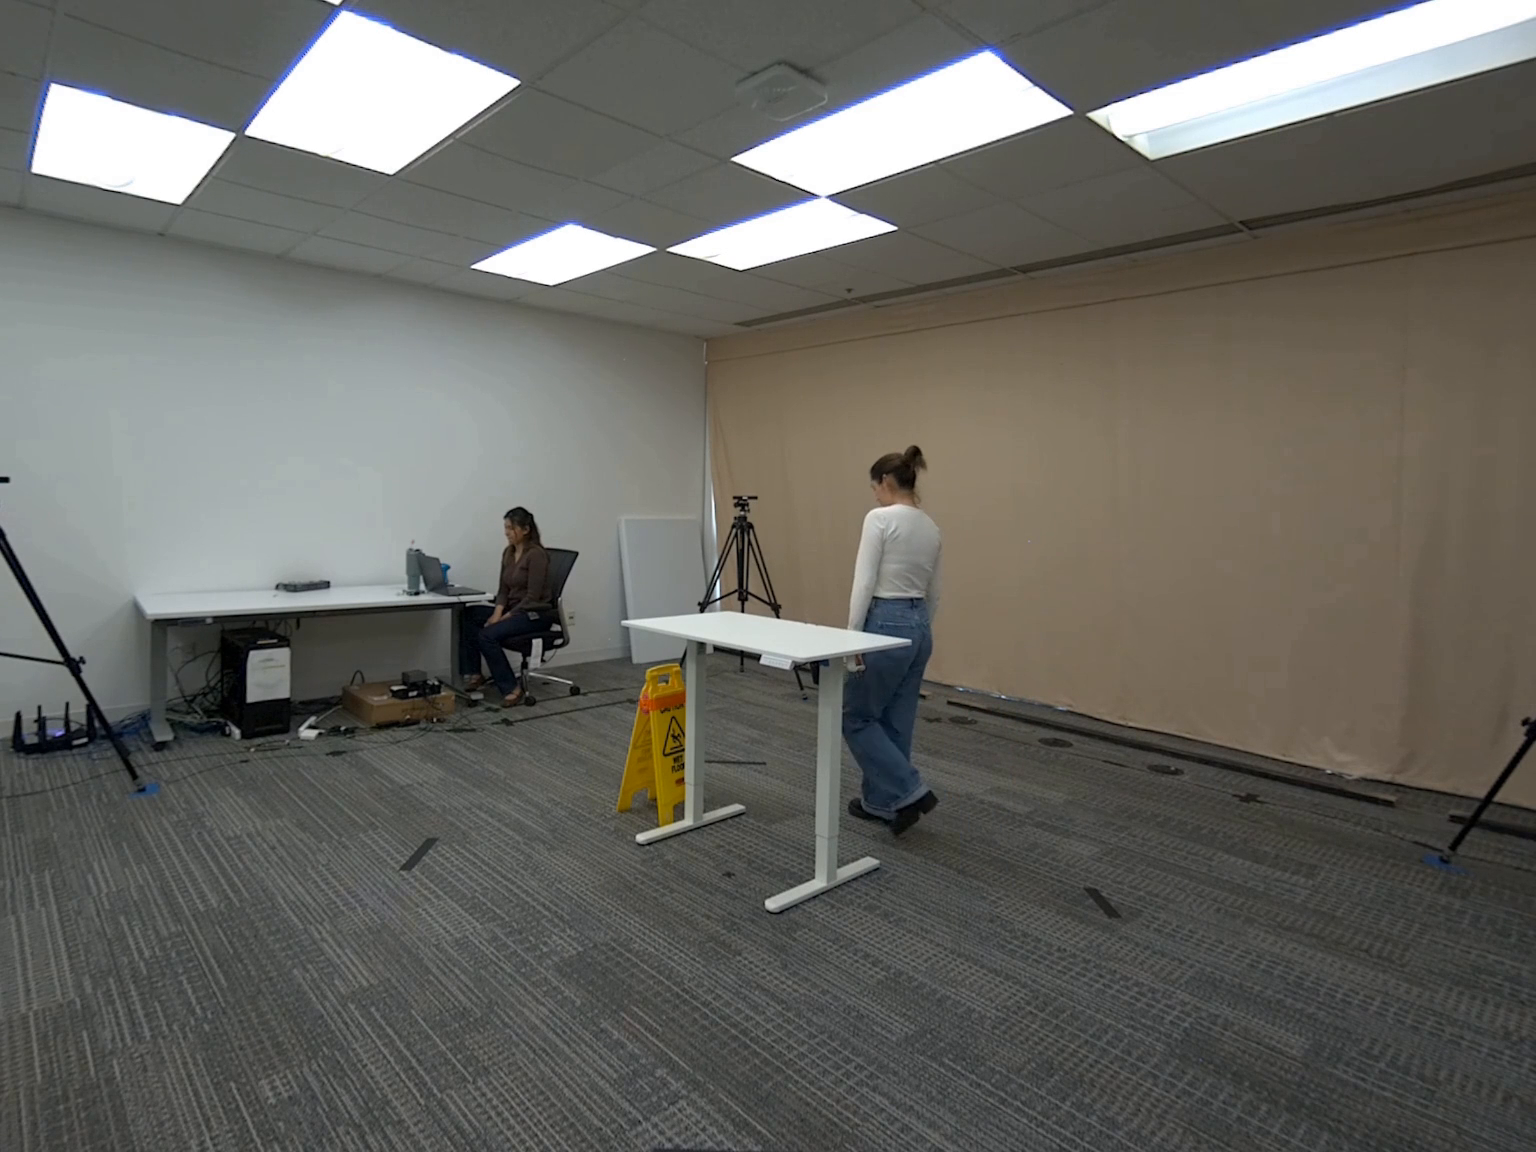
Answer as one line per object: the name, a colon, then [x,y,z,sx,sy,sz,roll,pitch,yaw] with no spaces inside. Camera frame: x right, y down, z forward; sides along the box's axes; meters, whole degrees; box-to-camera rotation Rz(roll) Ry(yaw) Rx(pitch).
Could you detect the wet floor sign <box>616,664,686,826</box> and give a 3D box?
wet floor sign: [-0.480,0.719,3.706,0.297,0.645,0.276,3,3,36]
